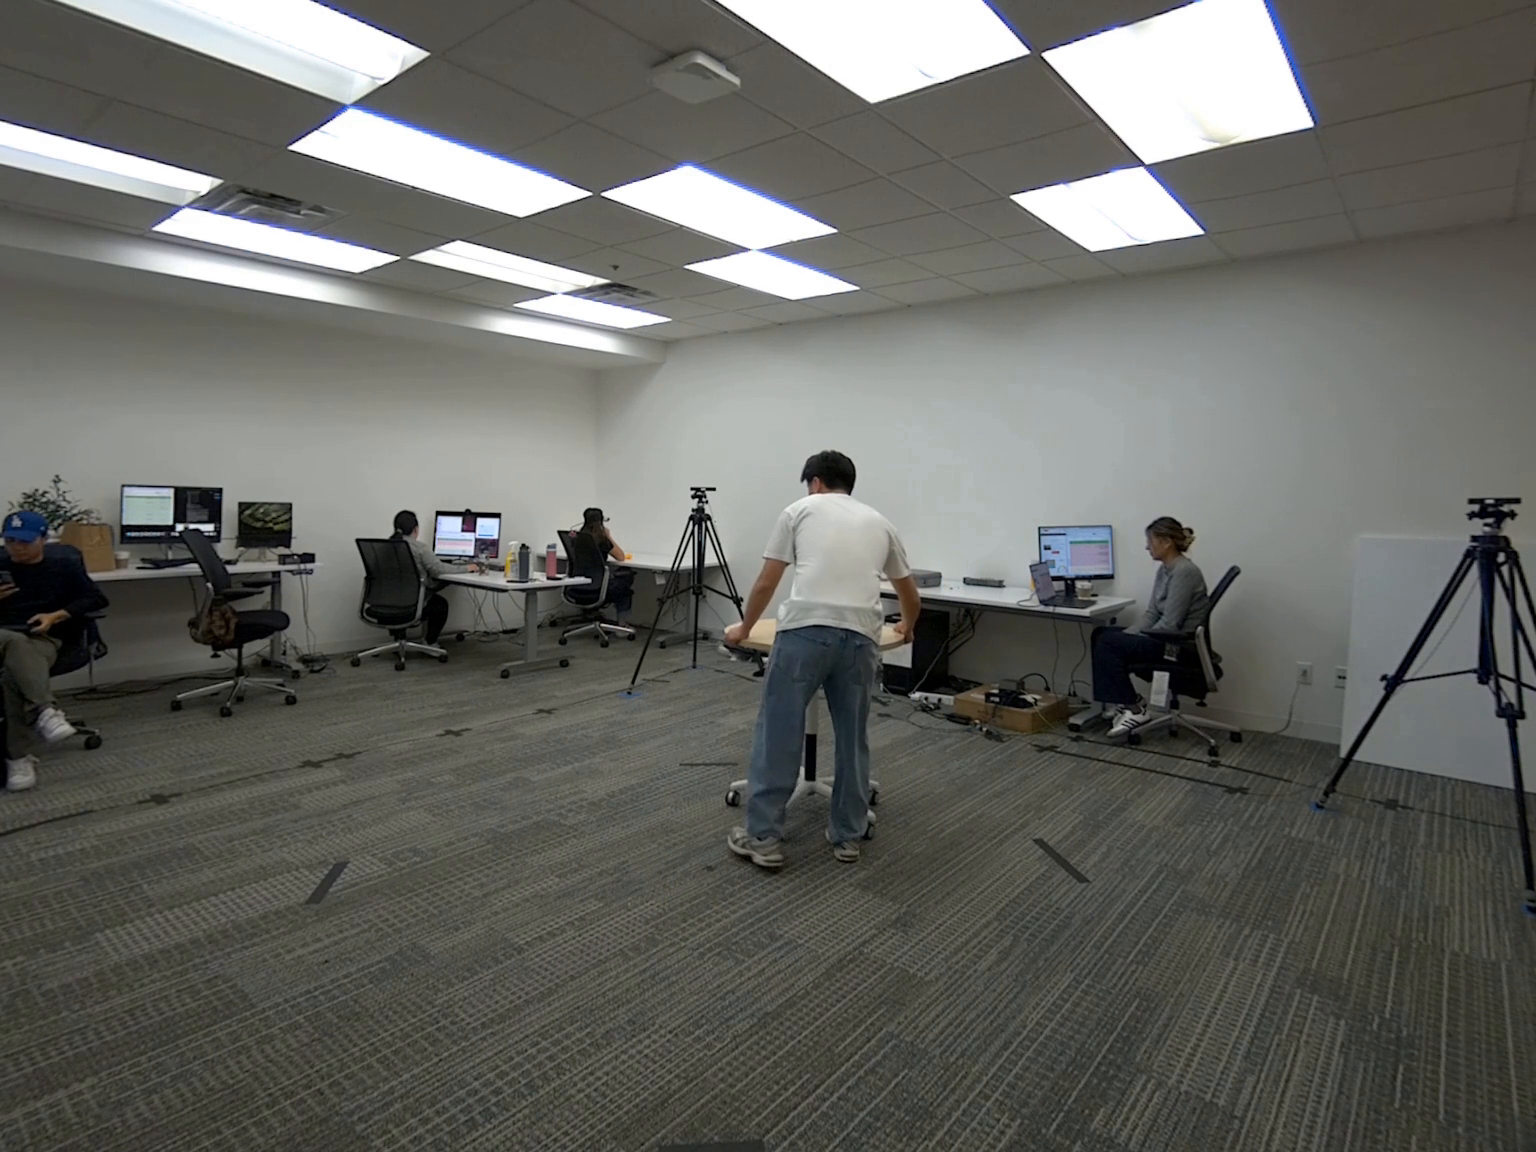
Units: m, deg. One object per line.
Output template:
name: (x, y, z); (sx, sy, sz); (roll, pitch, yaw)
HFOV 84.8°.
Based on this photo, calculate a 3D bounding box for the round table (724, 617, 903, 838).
round table: (0.169, 0.626, 3.669); (0.763, 0.792, 0.767); (1, 4, -2)
